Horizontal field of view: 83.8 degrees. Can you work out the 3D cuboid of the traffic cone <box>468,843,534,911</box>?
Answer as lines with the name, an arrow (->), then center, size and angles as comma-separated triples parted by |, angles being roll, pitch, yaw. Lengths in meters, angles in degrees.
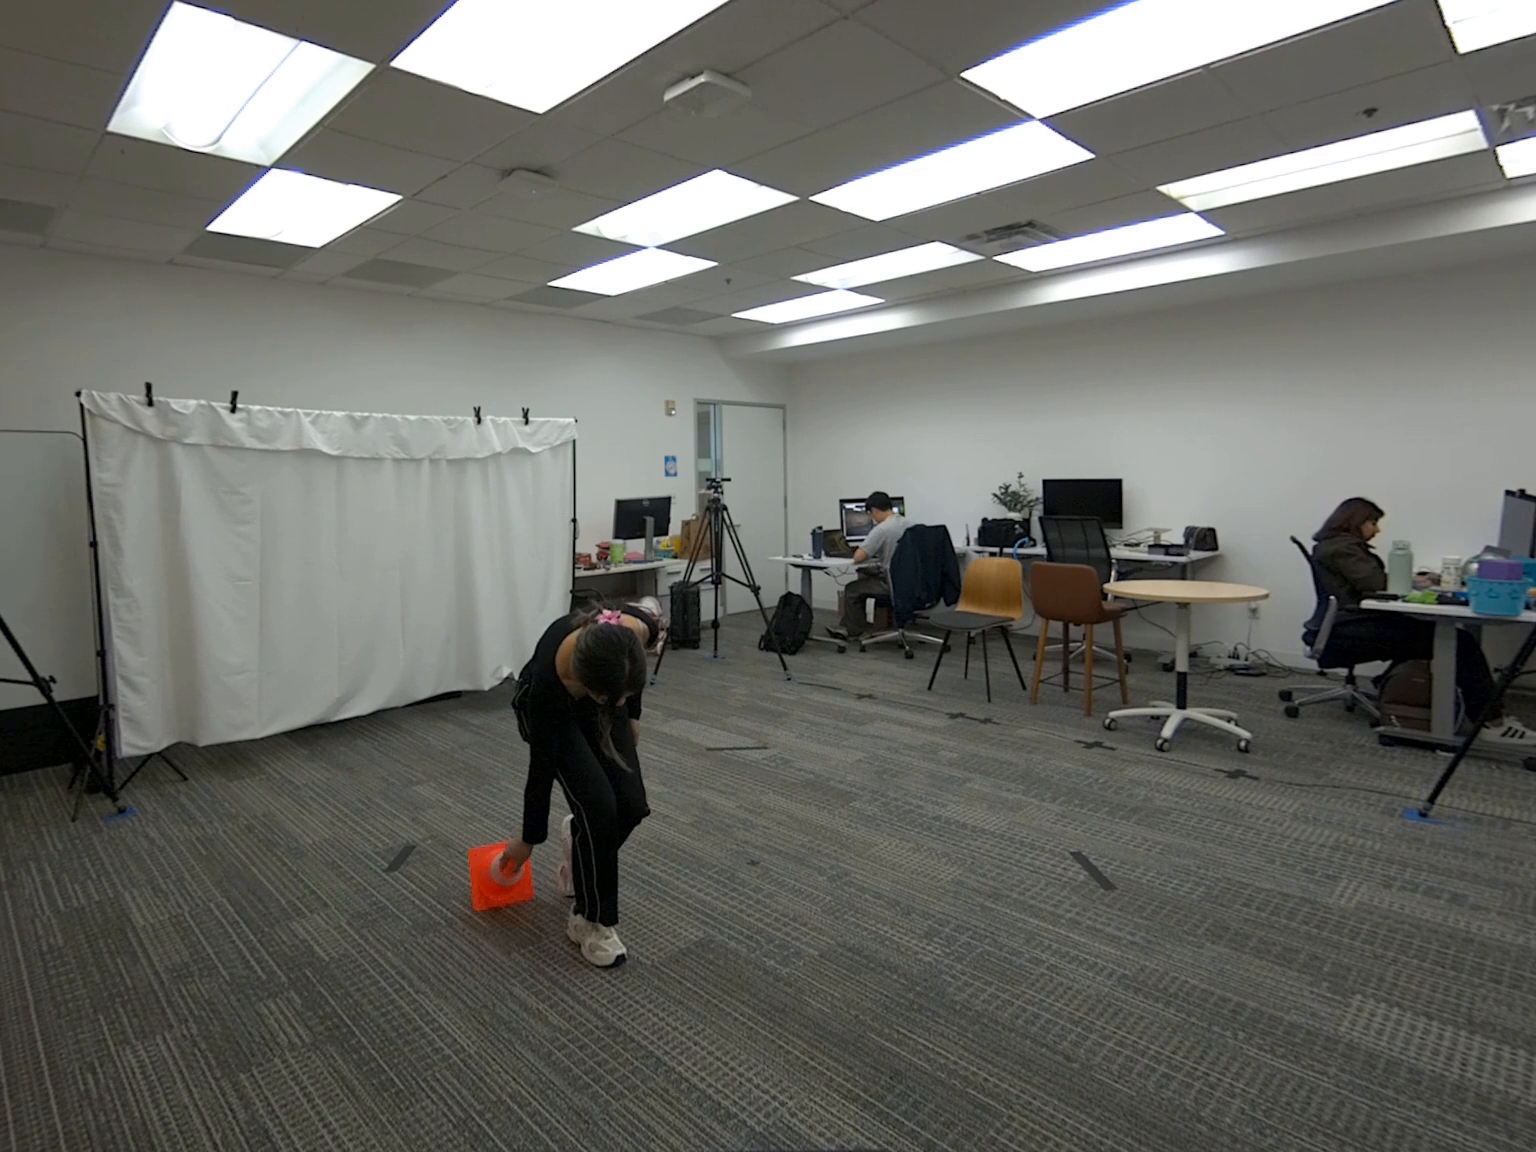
traffic cone -> -0.823, 0.924, 2.714 | 0.201, 0.208, 0.382 | -8, -21, -25
